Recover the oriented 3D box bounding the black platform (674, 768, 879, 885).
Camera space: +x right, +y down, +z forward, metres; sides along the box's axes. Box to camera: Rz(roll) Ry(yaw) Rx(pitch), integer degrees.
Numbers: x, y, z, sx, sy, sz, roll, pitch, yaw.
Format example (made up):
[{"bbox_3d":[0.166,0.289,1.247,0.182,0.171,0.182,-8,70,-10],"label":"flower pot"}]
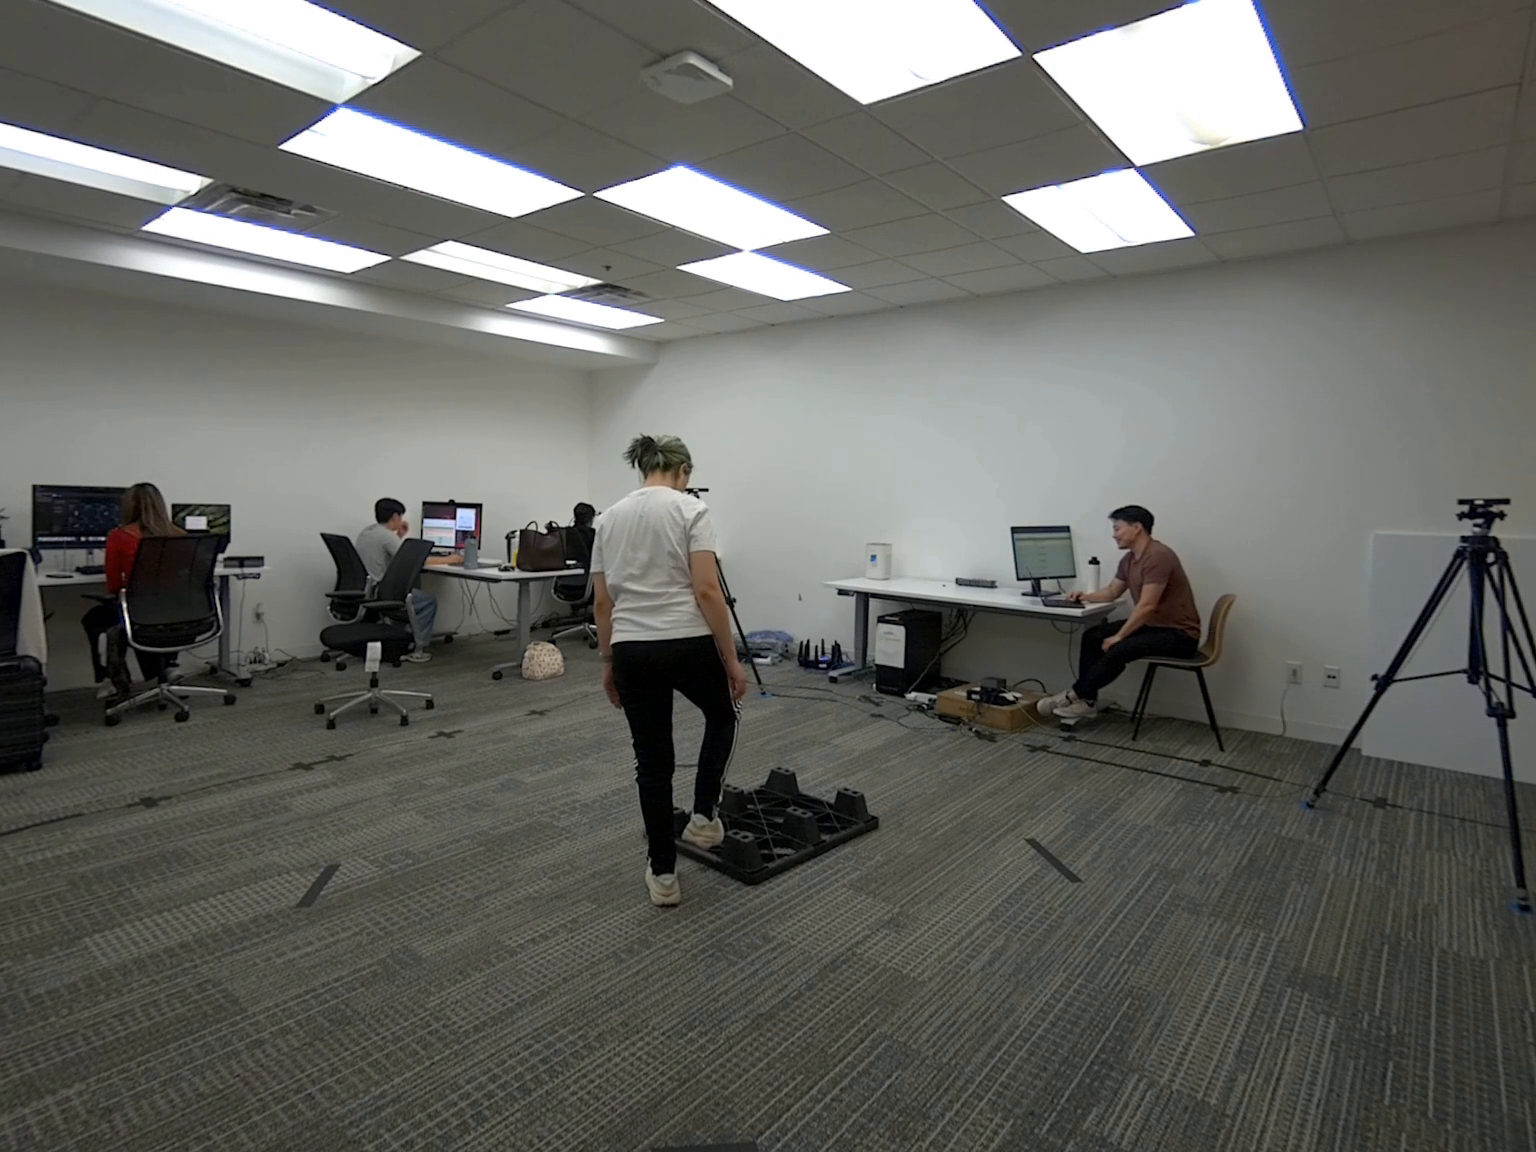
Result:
[{"bbox_3d":[-0.024,0.974,3.454,0.626,0.143,0.782,5,7,42],"label":"black platform"}]
